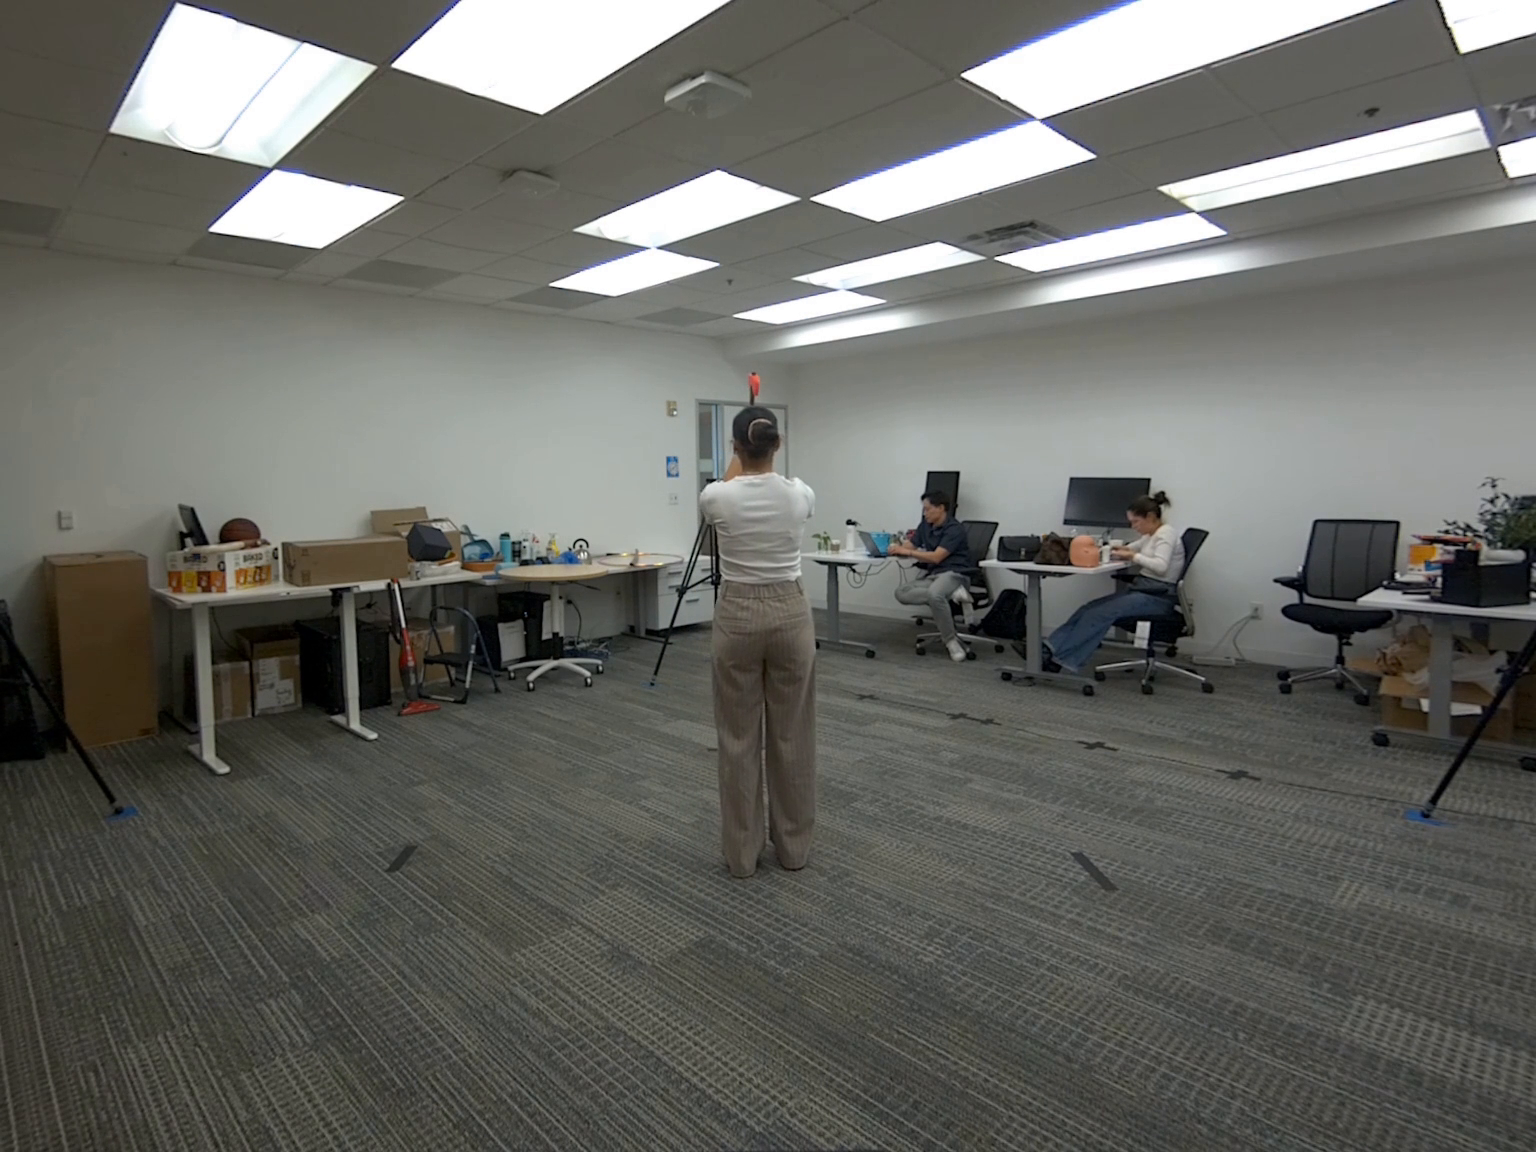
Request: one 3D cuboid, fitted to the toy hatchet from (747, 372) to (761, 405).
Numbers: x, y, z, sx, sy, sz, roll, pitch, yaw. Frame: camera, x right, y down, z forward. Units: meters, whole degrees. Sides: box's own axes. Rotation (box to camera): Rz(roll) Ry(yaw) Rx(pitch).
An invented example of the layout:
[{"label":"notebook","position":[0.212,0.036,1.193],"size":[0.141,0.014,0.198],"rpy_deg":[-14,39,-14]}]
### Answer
[{"label":"toy hatchet","position":[-0.048,-0.654,3.294],"size":[0.029,0.269,0.134],"rpy_deg":[-2,6,-20]}]
